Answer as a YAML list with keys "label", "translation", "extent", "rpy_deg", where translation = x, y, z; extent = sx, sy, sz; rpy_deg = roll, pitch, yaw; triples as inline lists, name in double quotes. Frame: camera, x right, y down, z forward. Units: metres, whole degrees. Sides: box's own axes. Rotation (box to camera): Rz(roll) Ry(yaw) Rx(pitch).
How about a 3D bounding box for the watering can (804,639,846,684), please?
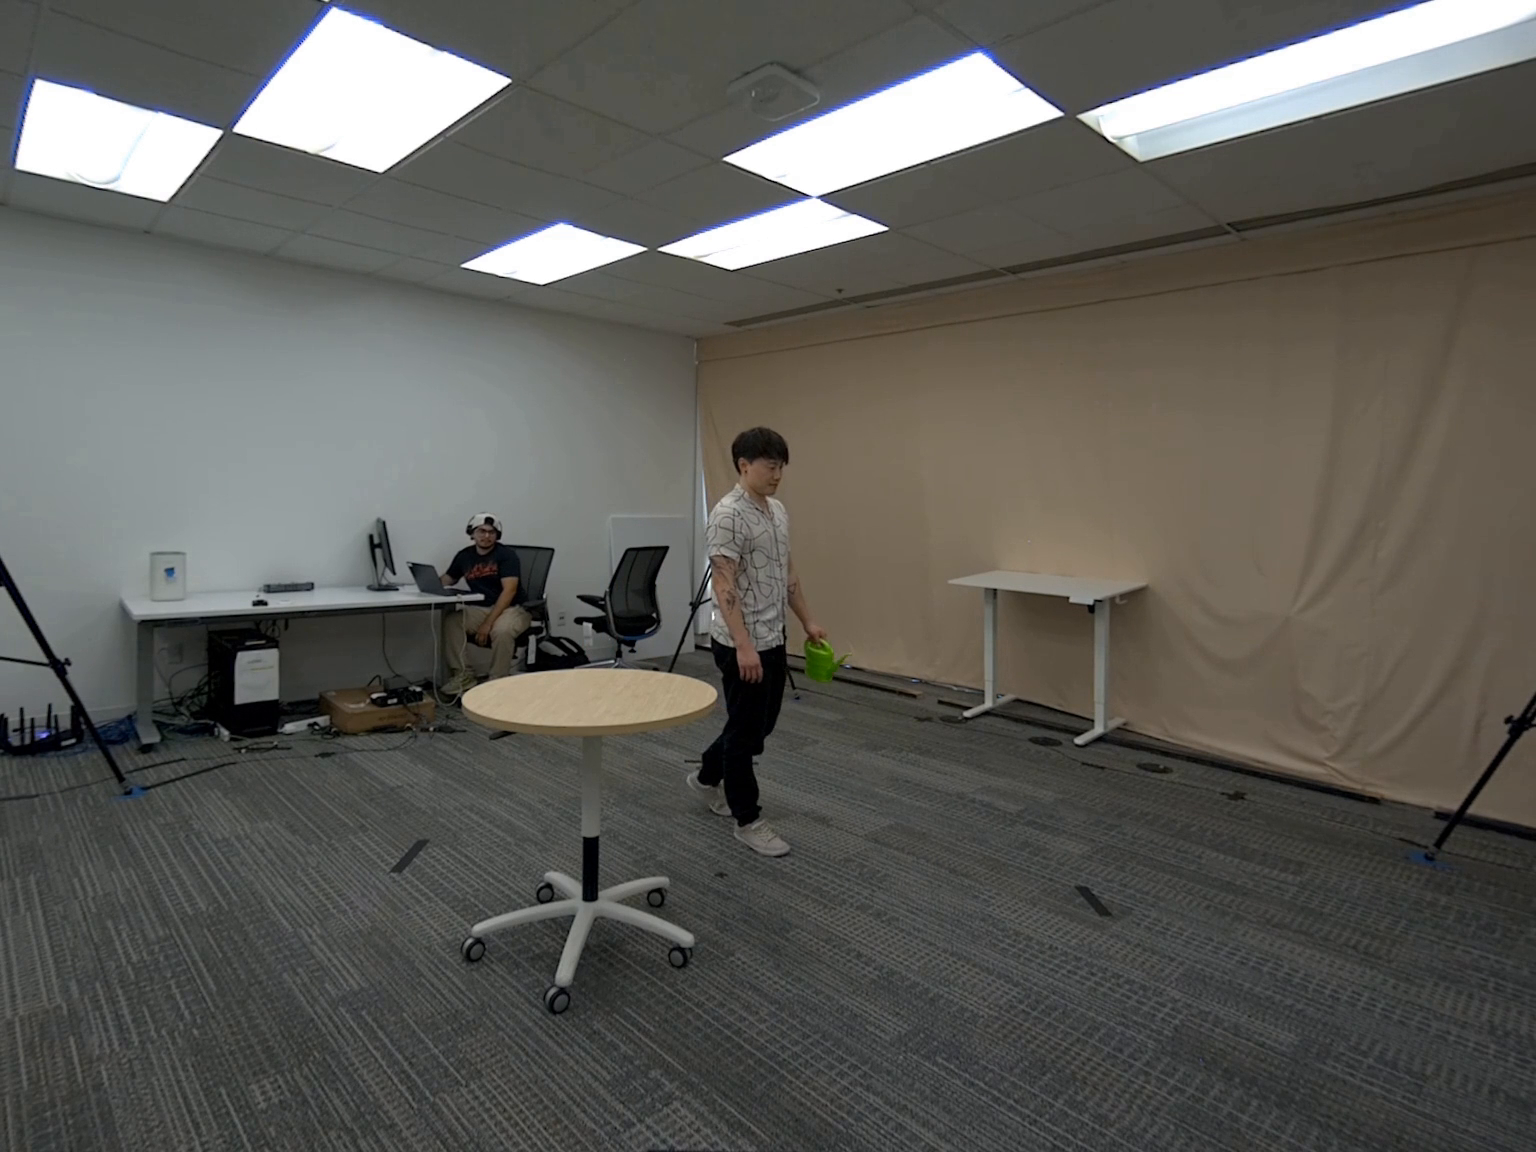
- label: "watering can"
  translation: [0.223, 0.369, 3.559]
  extent: [0.096, 0.175, 0.286]
  rpy_deg: [-7, 20, -28]
